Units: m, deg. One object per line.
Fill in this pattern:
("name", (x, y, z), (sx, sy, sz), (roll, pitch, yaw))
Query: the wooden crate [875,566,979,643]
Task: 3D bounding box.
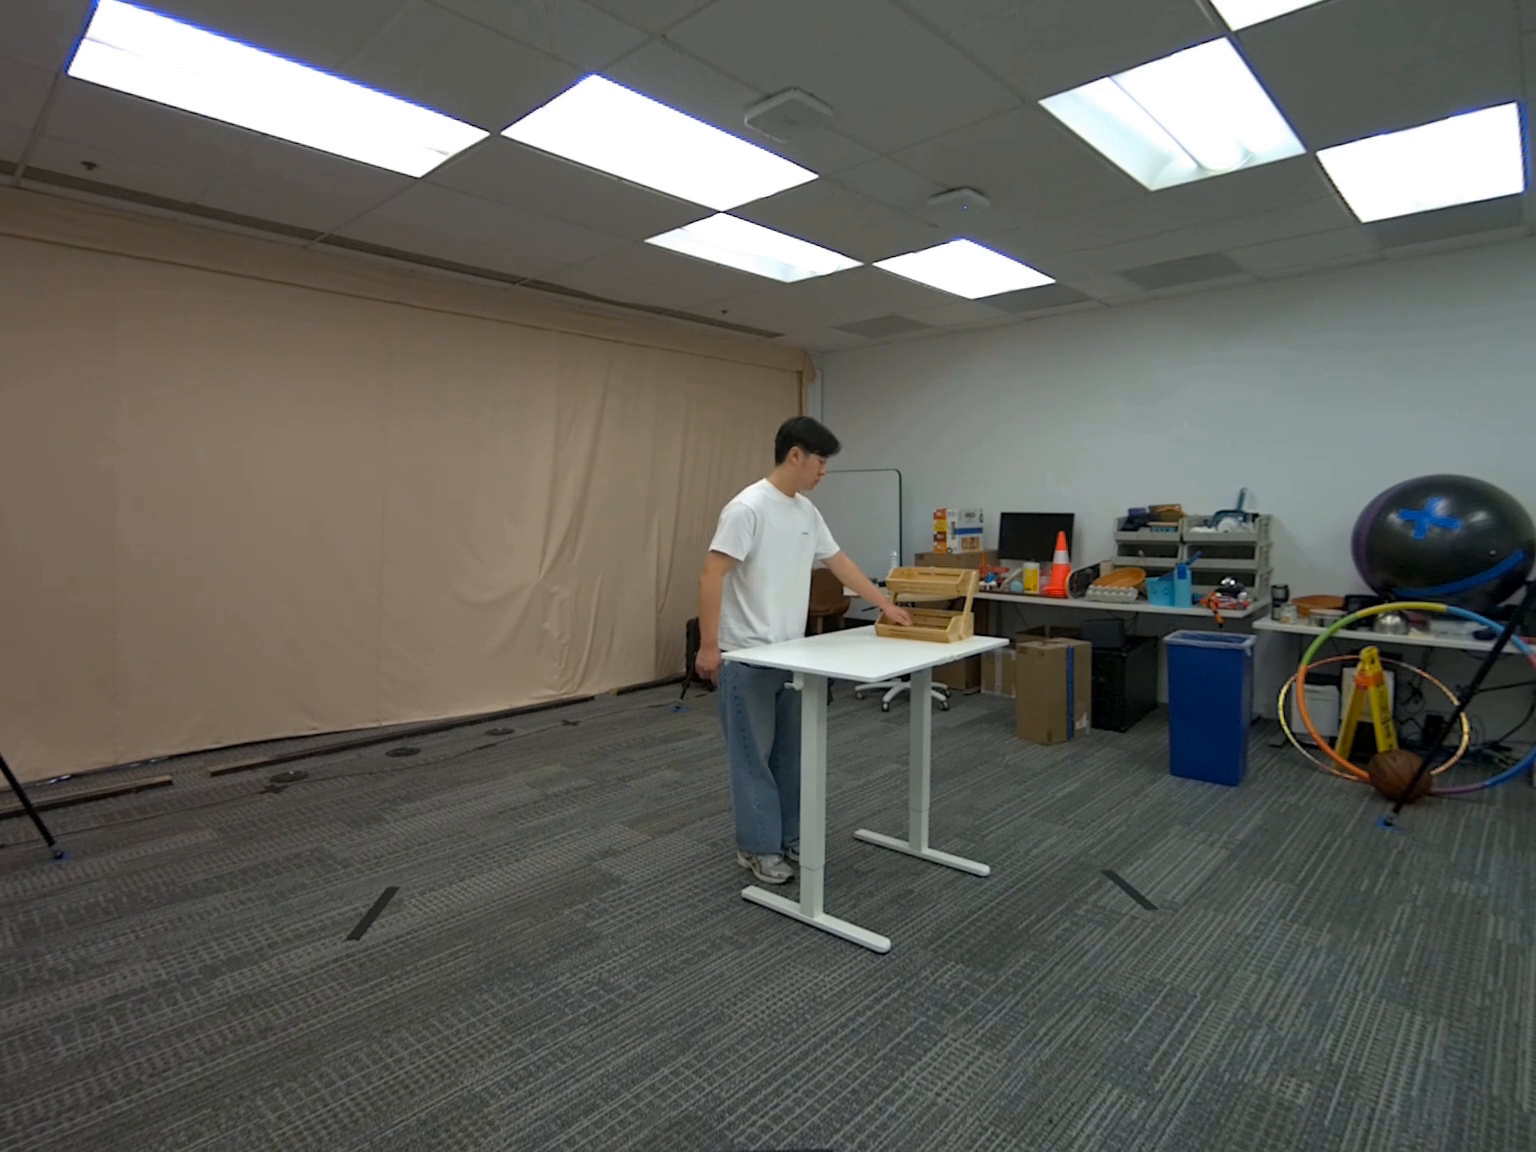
("wooden crate", (0.627, 0.104, 3.299), (0.335, 0.273, 0.293), (3, 4, 35))
